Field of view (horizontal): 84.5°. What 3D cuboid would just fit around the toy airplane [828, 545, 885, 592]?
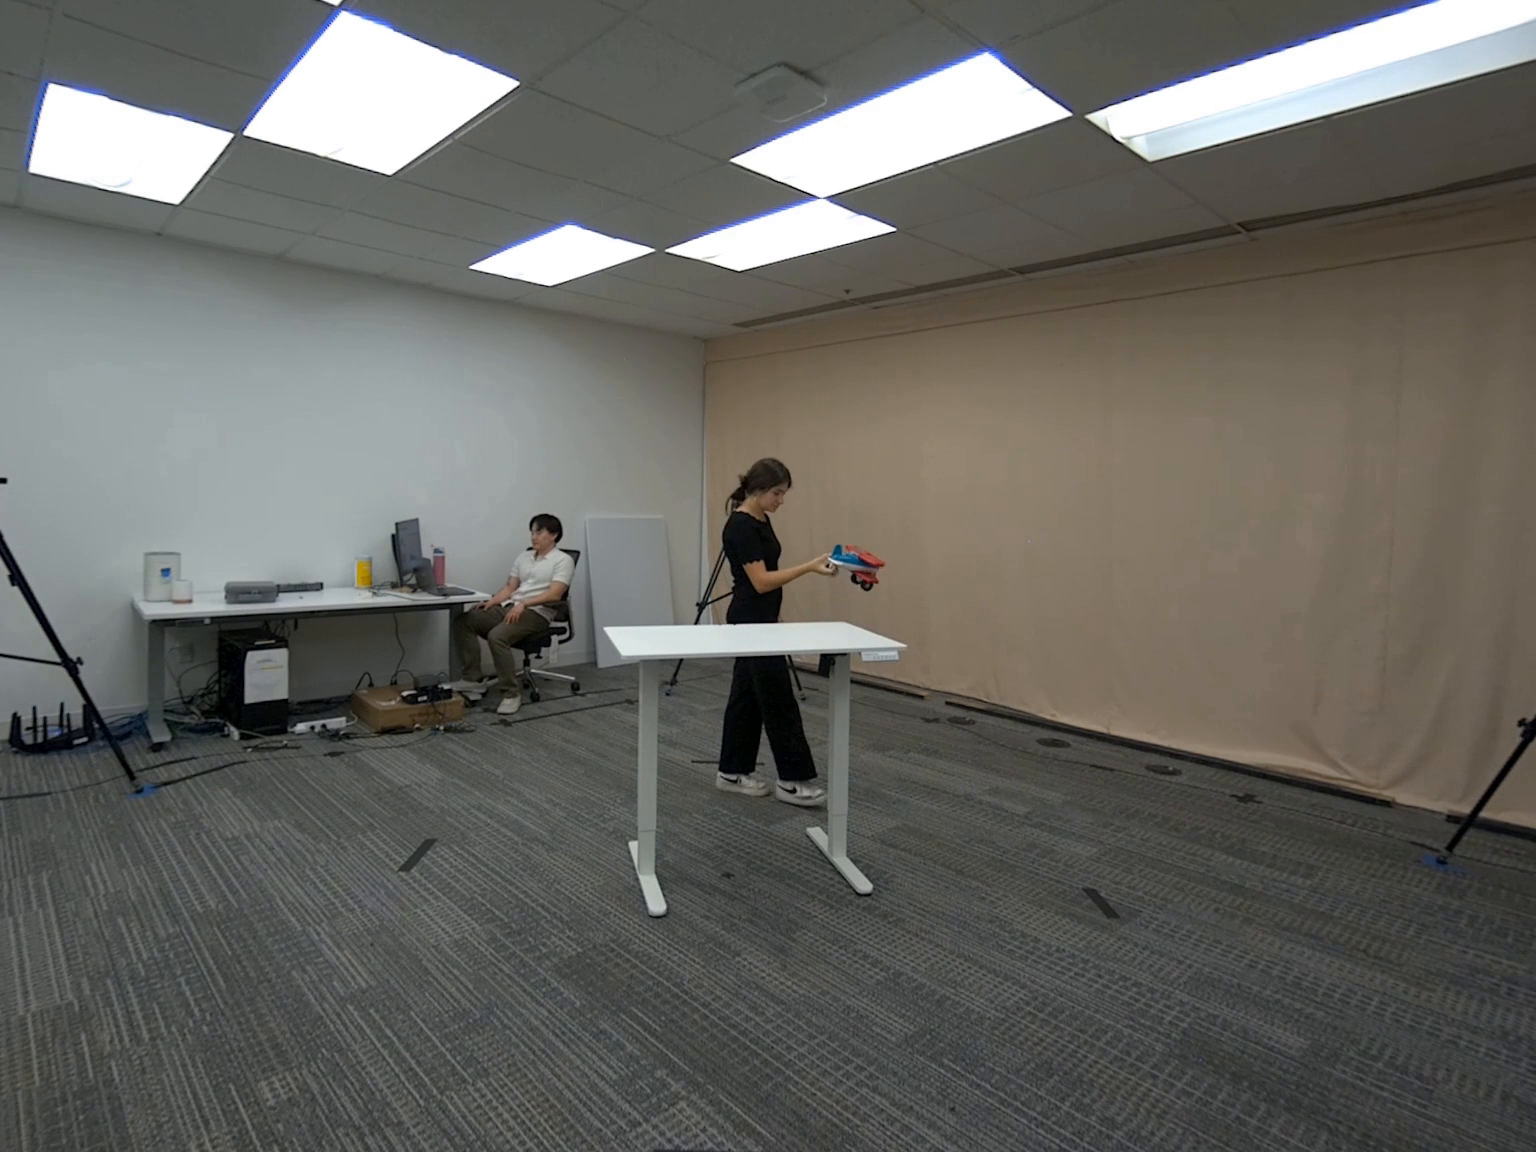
[{"bbox_3d":[0.377,-0.047,3.681,0.258,0.156,0.252,32,7,32],"label":"toy airplane"}]
